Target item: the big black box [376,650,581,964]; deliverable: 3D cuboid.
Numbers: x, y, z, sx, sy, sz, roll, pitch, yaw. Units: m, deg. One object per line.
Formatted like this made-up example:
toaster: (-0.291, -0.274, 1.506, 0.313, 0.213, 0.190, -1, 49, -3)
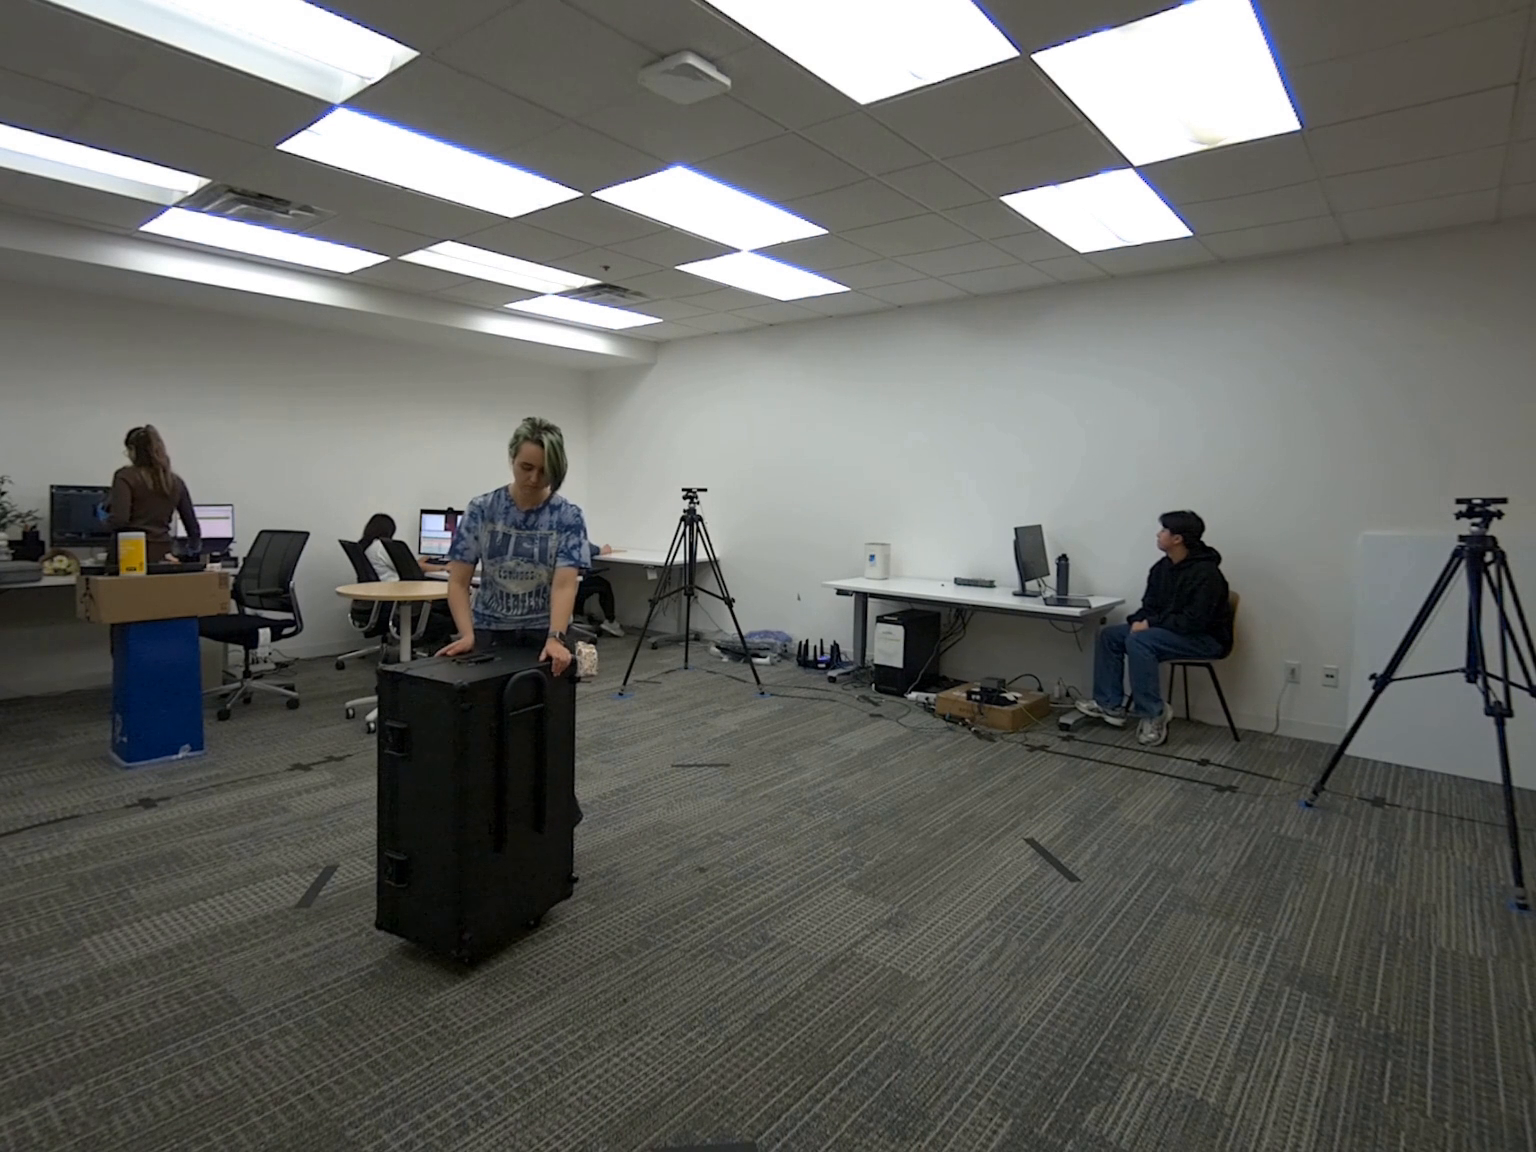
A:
big black box: (-0.886, 0.685, 2.618, 0.408, 0.859, 0.508, 4, 4, 30)
